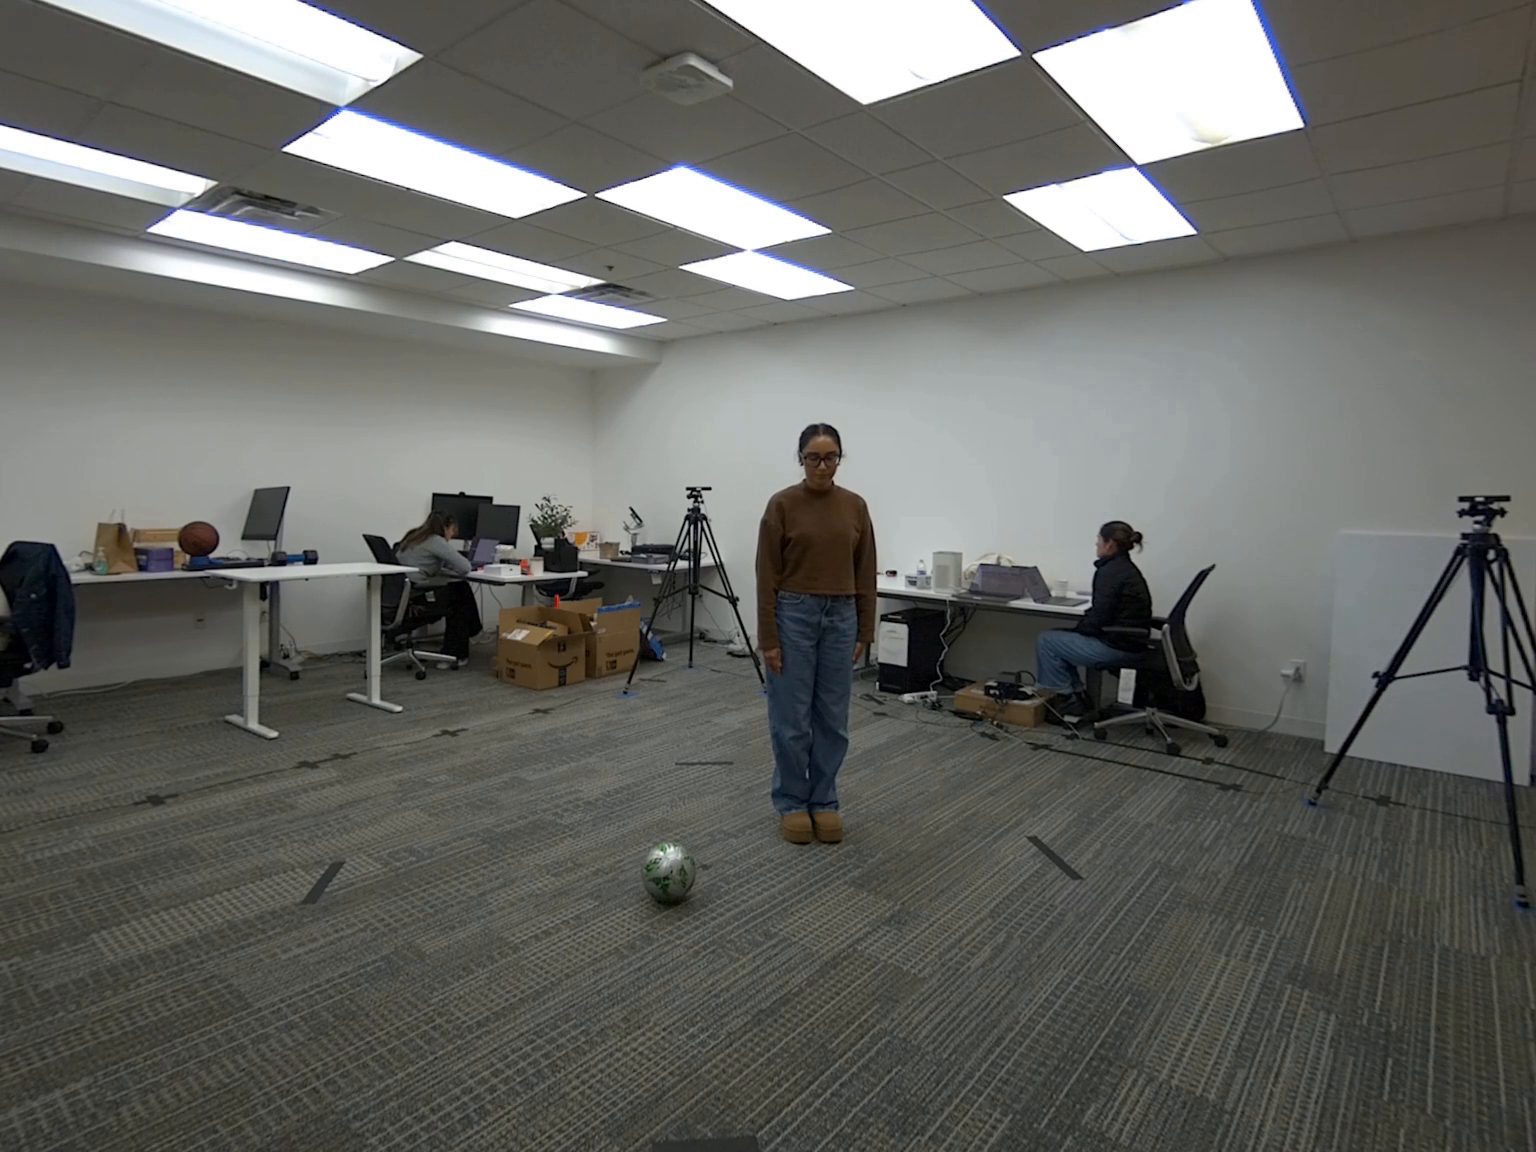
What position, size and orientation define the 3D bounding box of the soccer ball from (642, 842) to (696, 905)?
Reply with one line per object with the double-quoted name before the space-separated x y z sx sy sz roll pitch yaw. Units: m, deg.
"soccer ball" -0.344 0.994 2.863 0.187 0.187 0.188 1 4 -2
